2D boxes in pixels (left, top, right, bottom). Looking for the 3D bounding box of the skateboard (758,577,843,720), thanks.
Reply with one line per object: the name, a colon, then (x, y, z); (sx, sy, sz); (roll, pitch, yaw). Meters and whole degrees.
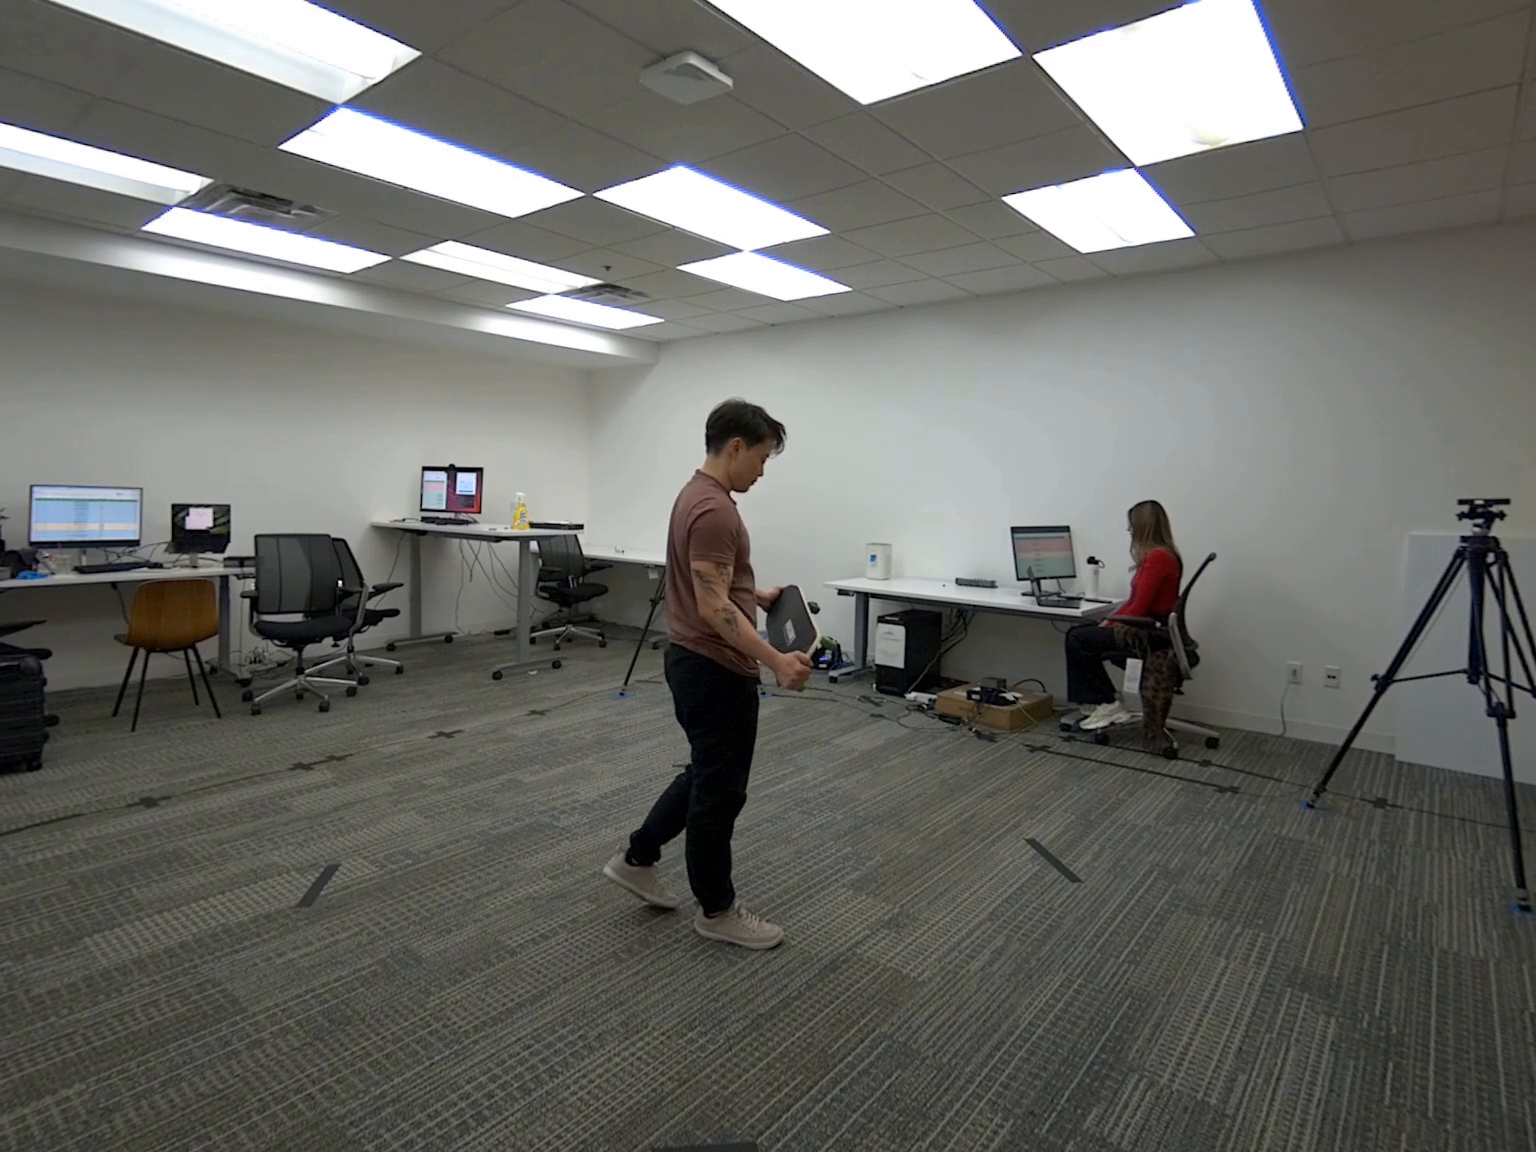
skateboard: (0.083, 0.199, 2.682); (0.109, 0.193, 0.795); (33, 9, -9)
